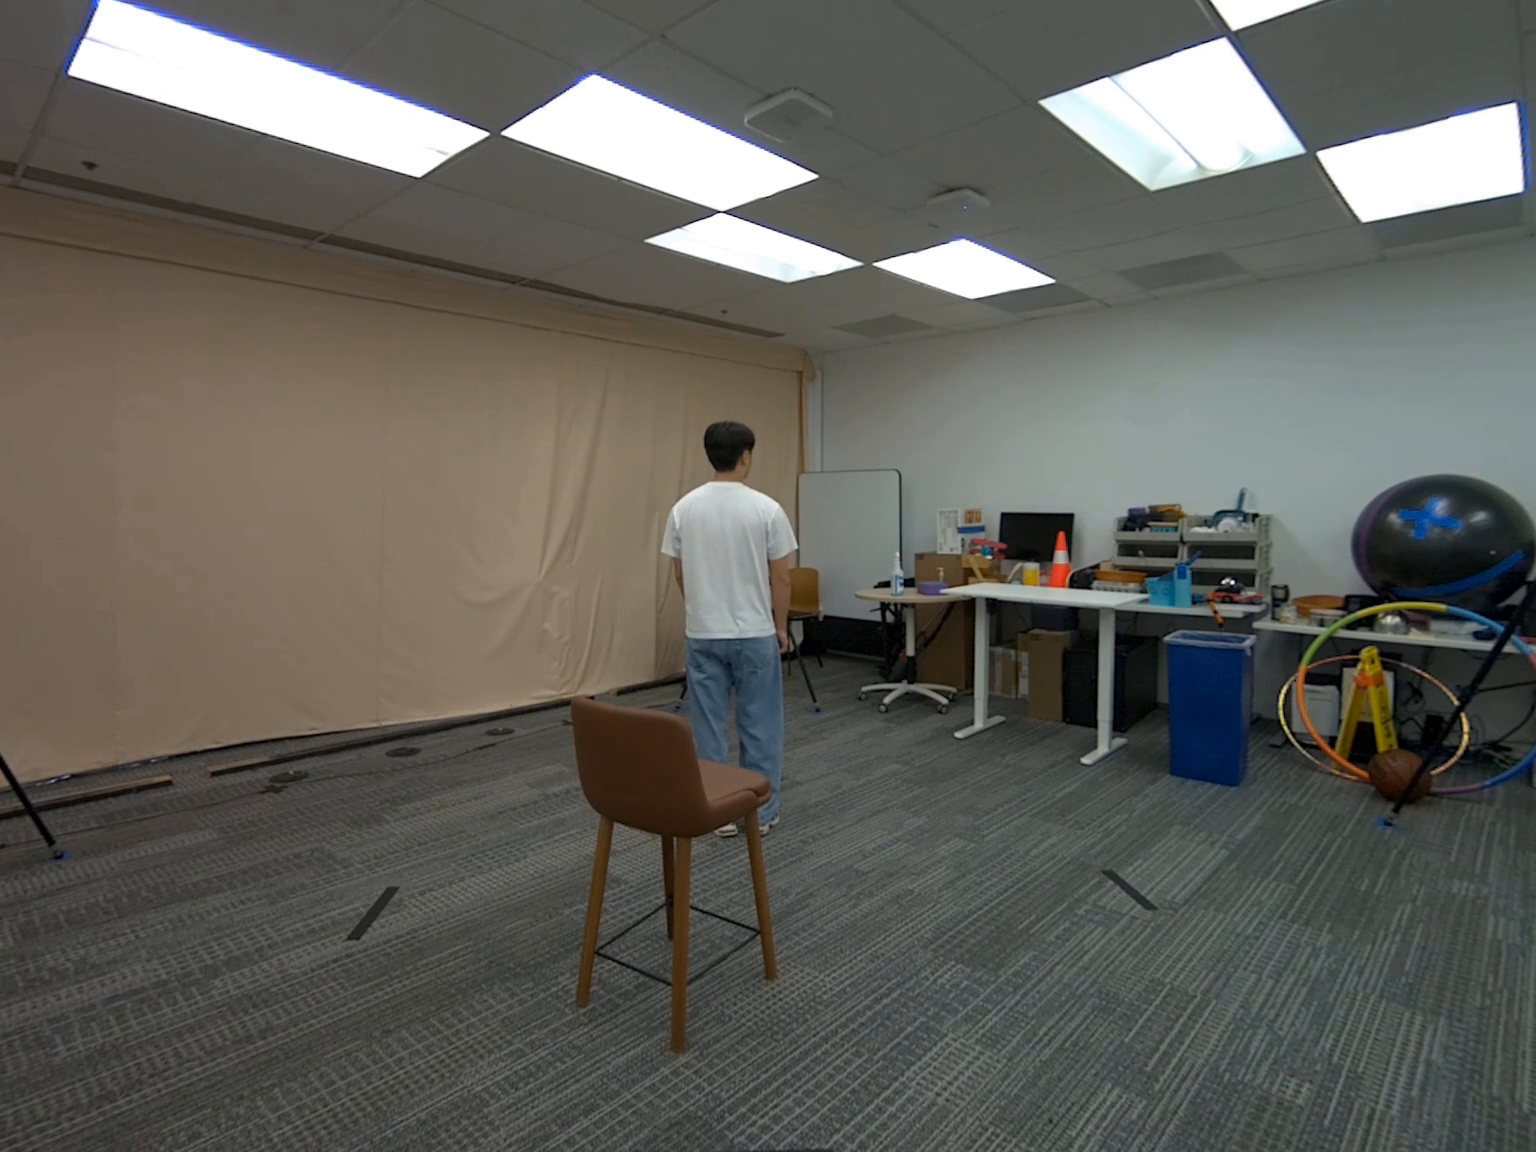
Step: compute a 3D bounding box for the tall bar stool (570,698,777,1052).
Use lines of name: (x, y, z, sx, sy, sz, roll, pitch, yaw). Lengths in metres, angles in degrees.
tall bar stool: (-0.269, 0.756, 2.405, 0.471, 0.887, 0.454, 1, 6, 36)
